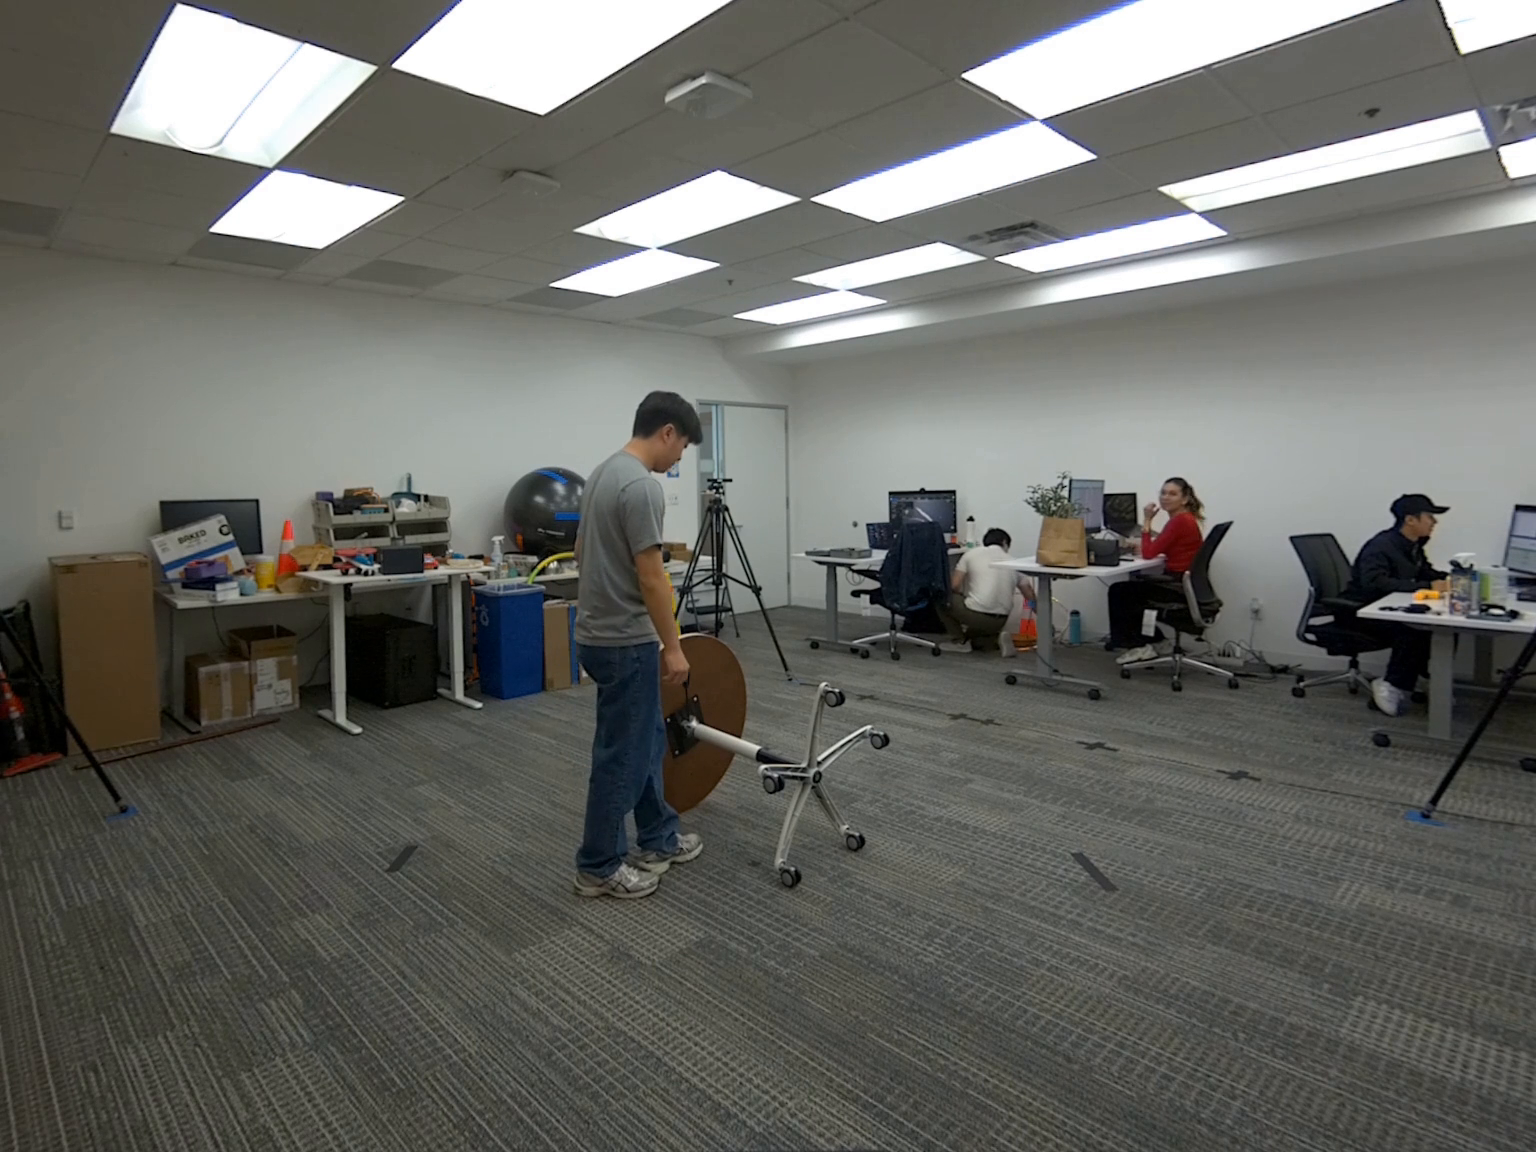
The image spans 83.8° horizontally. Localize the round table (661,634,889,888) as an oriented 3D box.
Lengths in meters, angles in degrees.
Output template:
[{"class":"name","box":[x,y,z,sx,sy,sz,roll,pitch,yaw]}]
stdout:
[{"class":"round table","box":[-0.054,0.680,3.298,0.821,0.759,0.744,11,11,41]}]
